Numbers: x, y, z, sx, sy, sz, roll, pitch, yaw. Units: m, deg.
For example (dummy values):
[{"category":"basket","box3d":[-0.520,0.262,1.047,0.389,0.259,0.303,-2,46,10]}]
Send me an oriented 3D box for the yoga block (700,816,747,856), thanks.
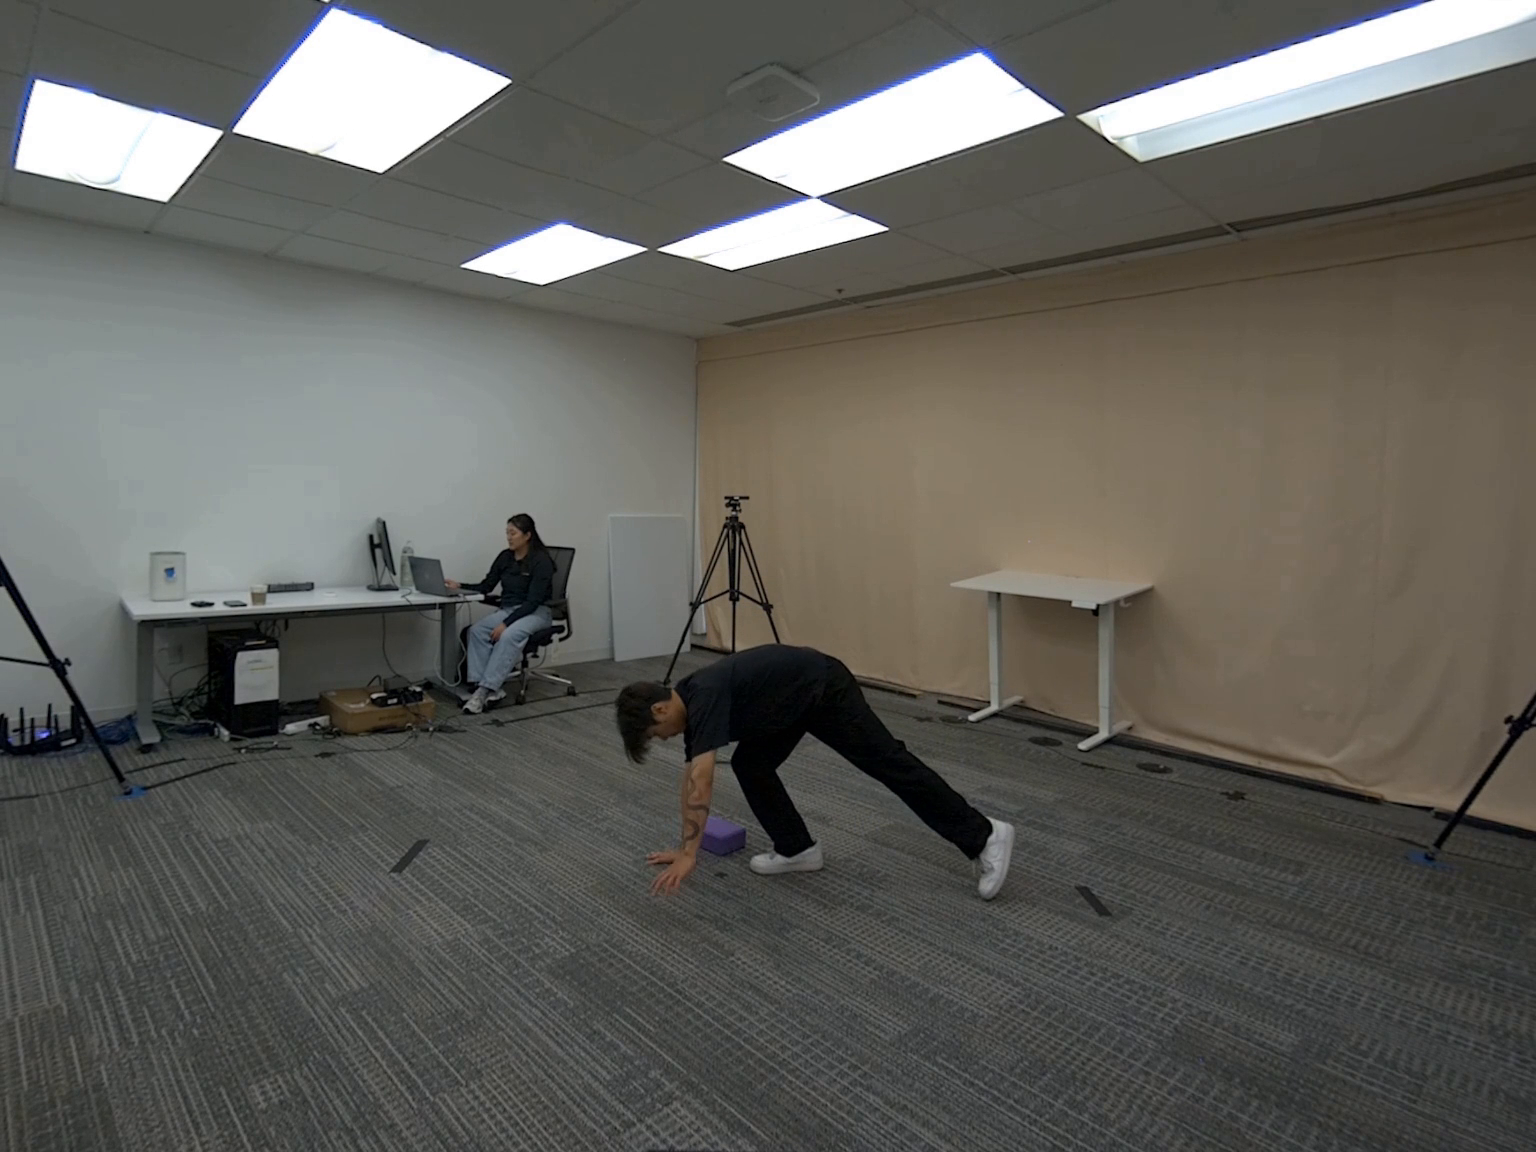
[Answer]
[{"category":"yoga block","box3d":[-0.226,1.035,3.382,0.235,0.076,0.145,5,6,41]}]
